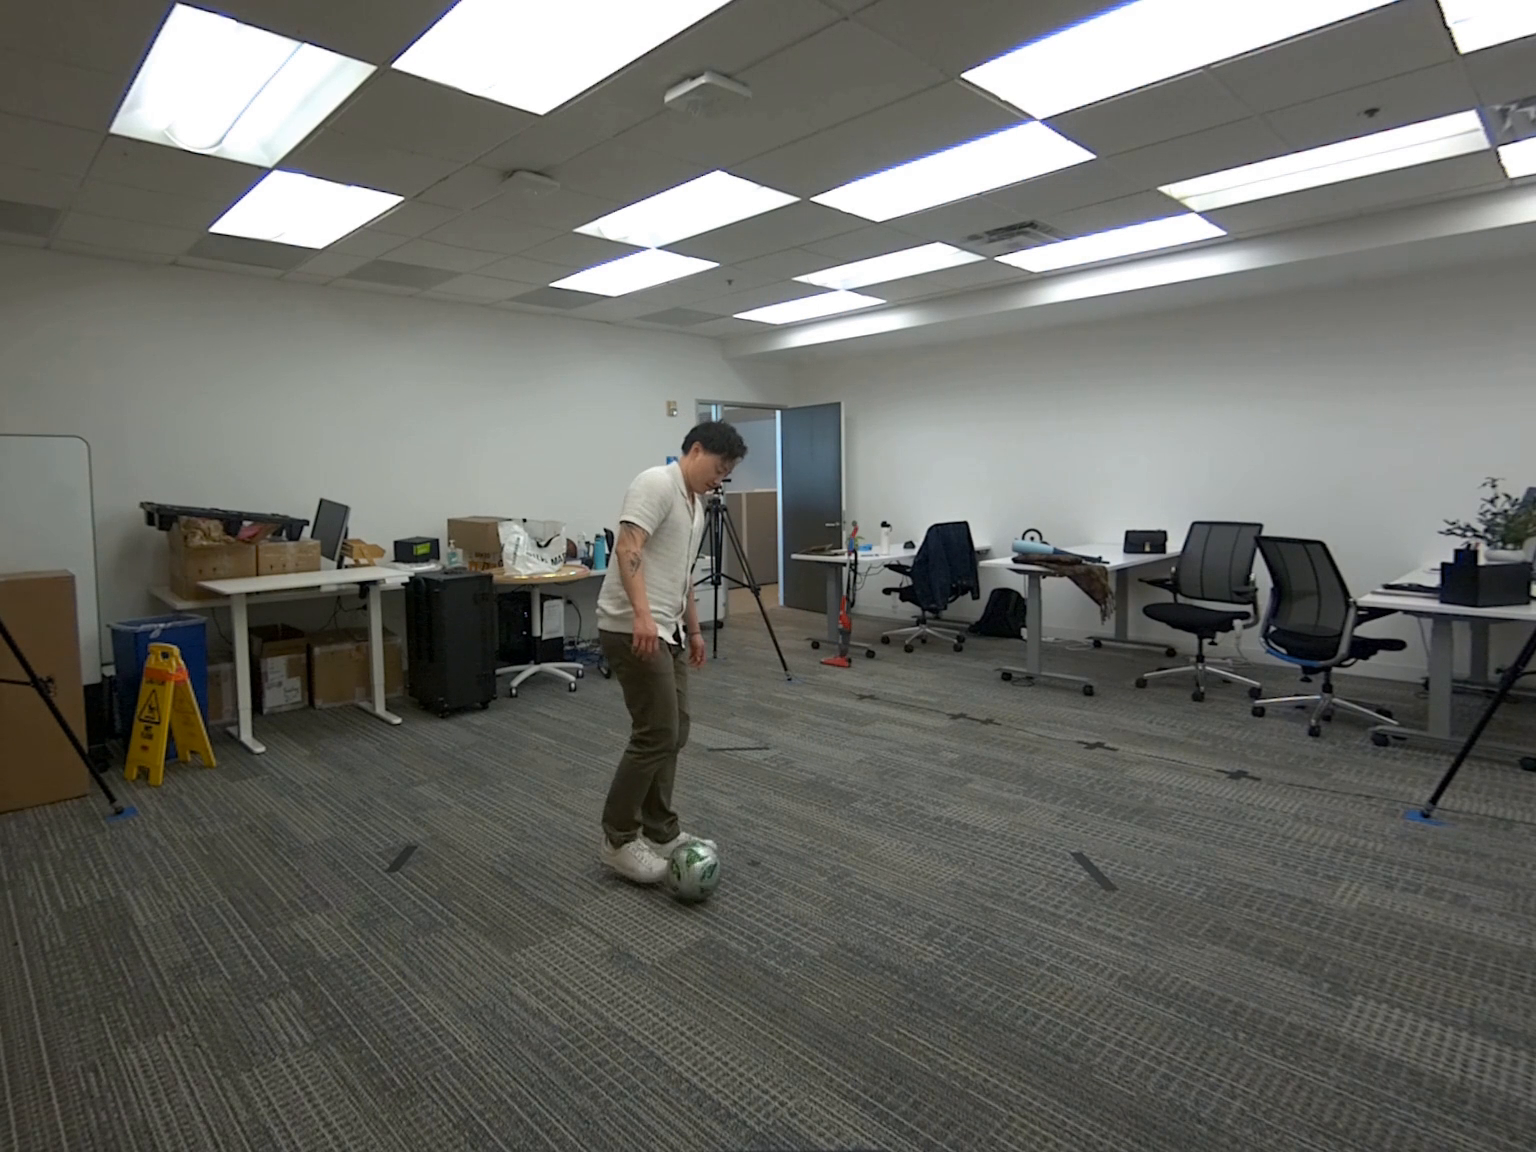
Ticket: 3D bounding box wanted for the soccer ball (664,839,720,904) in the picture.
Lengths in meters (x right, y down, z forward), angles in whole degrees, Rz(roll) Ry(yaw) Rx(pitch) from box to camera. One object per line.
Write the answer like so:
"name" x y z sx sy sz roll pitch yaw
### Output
"soccer ball" -0.254 0.982 2.851 0.187 0.187 0.188 -1 5 -2
